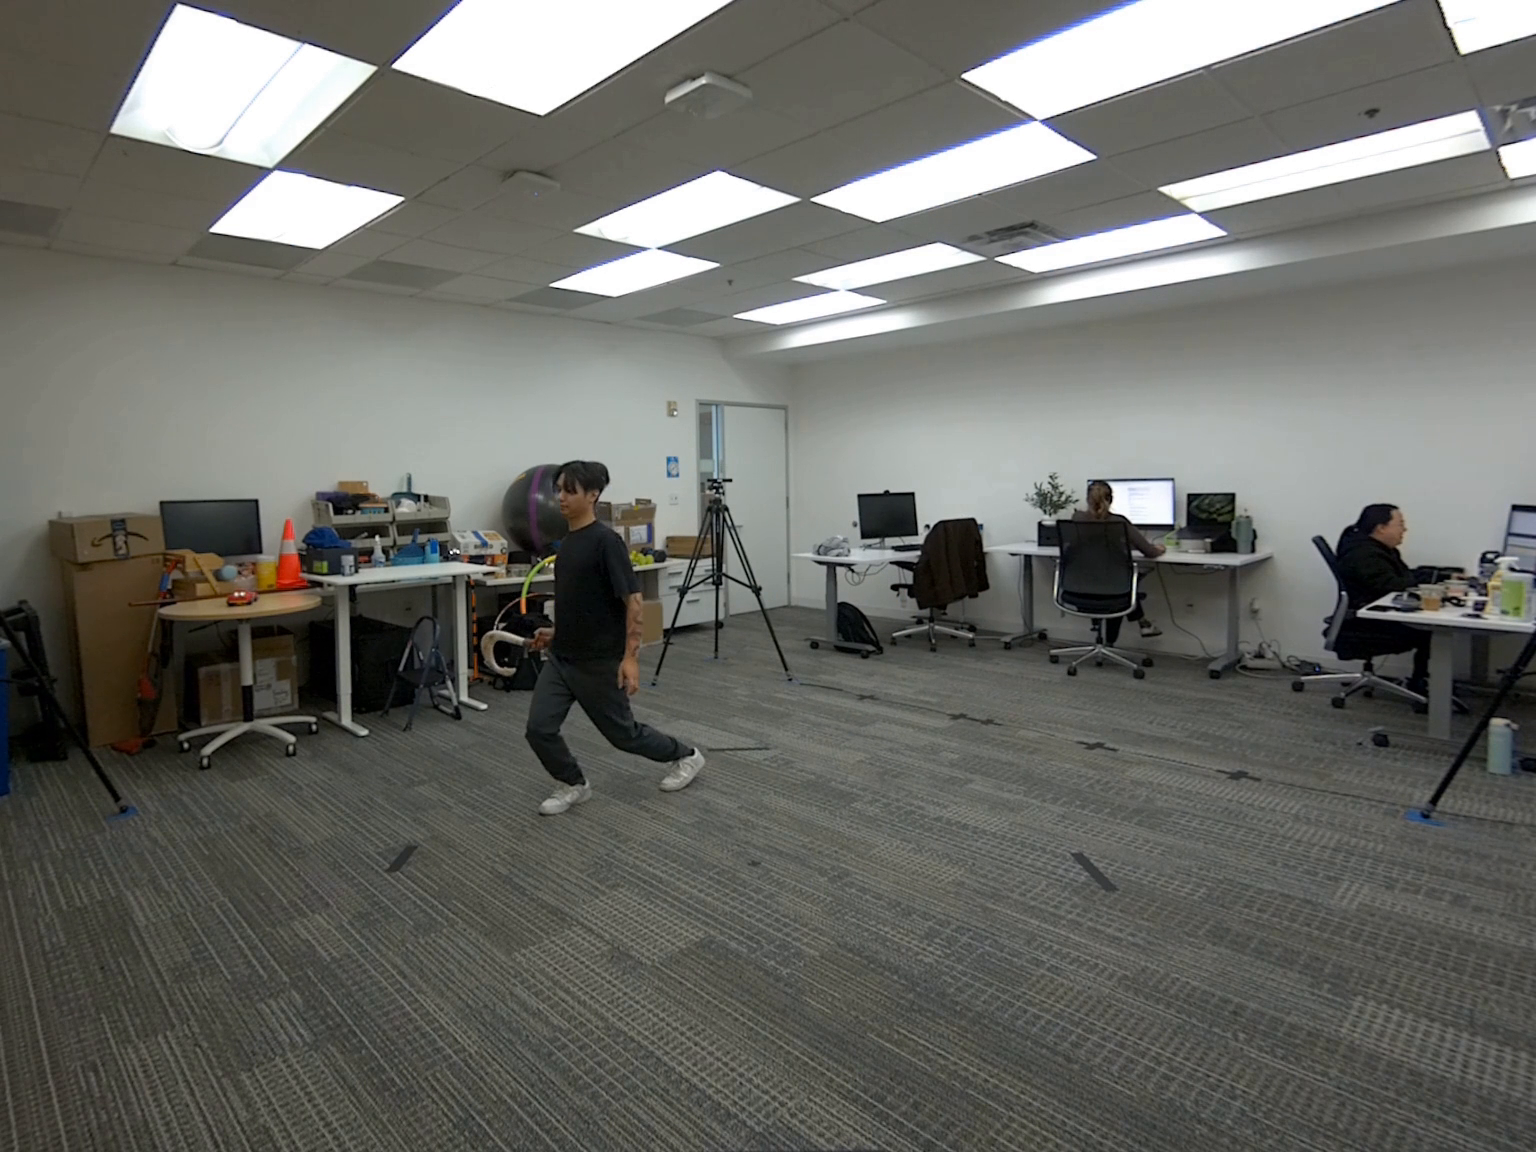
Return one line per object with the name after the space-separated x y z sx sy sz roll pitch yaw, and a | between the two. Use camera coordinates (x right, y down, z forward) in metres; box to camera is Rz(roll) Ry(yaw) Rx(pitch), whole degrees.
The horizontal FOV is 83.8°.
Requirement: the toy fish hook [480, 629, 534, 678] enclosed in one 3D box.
-1.179 0.359 4.033 0.519 0.222 0.048 -5 12 32 | toy fish hook
